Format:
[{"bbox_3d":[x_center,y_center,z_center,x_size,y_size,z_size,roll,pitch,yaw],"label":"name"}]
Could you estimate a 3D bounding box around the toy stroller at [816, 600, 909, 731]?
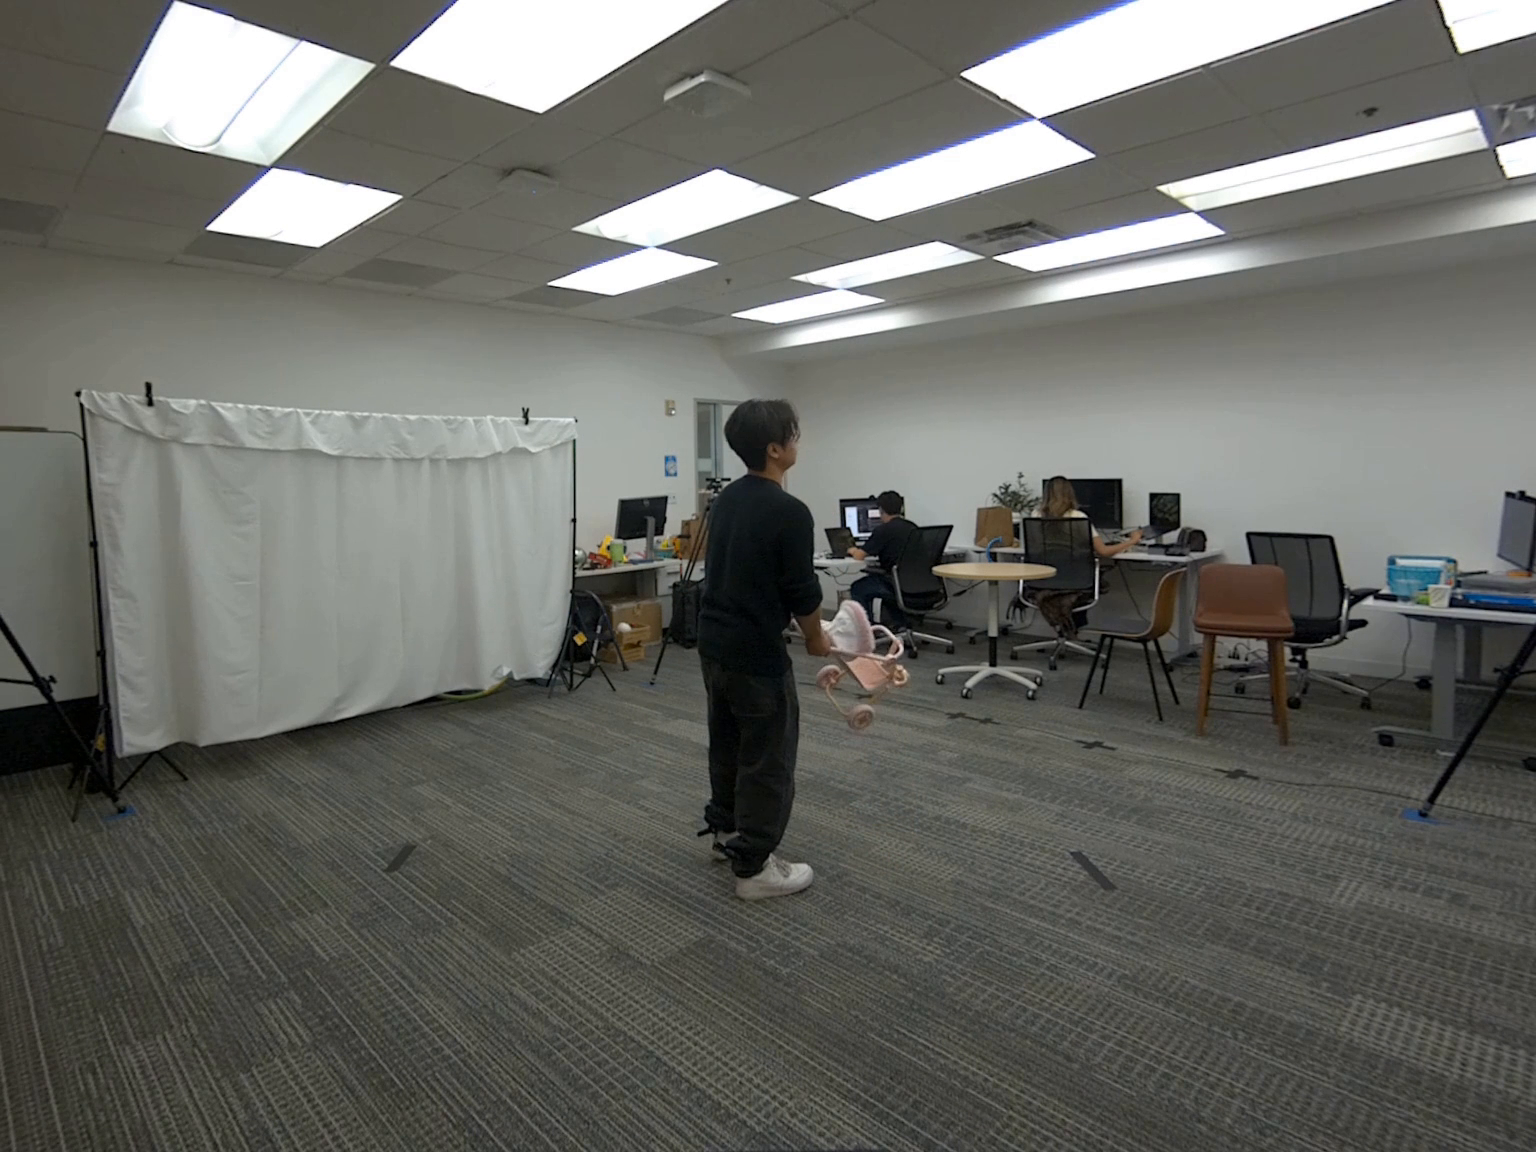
[{"bbox_3d":[0.344,0.298,3.167,0.340,0.517,0.292,-27,35,-5],"label":"toy stroller"}]
